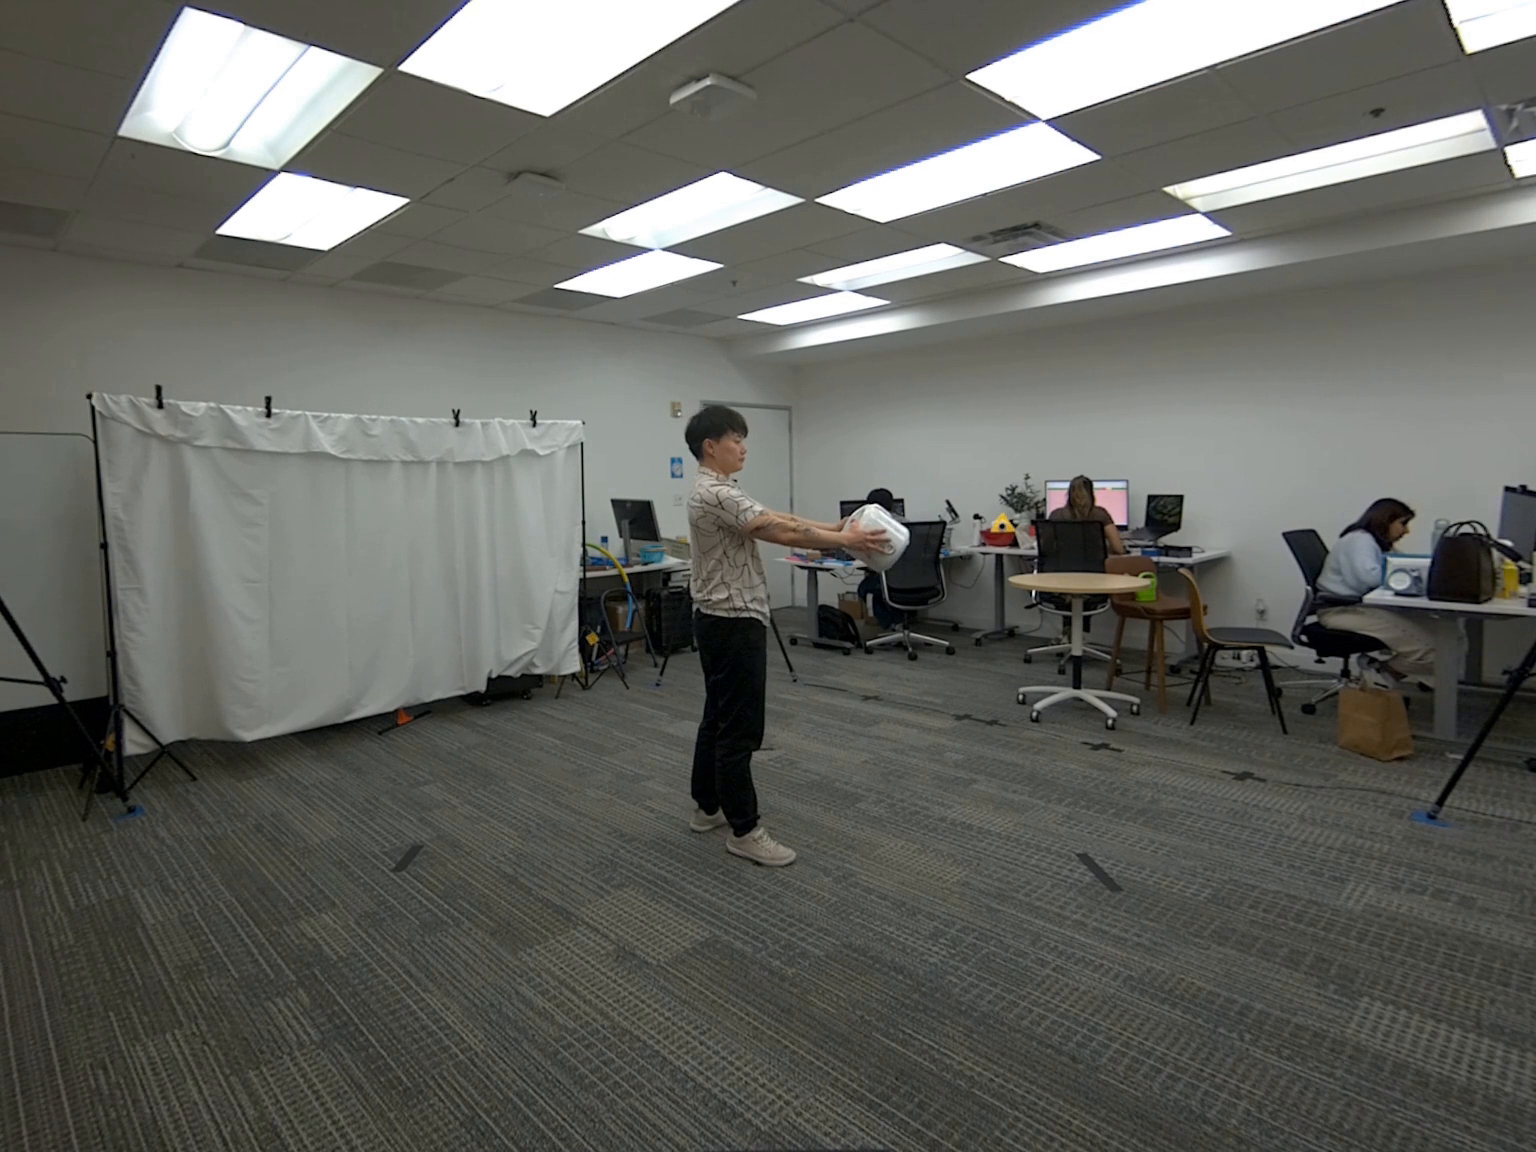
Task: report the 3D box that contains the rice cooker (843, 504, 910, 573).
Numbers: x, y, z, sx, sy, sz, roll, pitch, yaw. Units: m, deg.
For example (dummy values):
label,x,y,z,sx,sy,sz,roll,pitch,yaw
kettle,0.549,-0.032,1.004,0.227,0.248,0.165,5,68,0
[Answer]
label,x,y,z,sx,sy,sz,roll,pitch,yaw
rice cooker,0.403,-0.154,3.305,0.231,0.220,0.219,34,5,-6
